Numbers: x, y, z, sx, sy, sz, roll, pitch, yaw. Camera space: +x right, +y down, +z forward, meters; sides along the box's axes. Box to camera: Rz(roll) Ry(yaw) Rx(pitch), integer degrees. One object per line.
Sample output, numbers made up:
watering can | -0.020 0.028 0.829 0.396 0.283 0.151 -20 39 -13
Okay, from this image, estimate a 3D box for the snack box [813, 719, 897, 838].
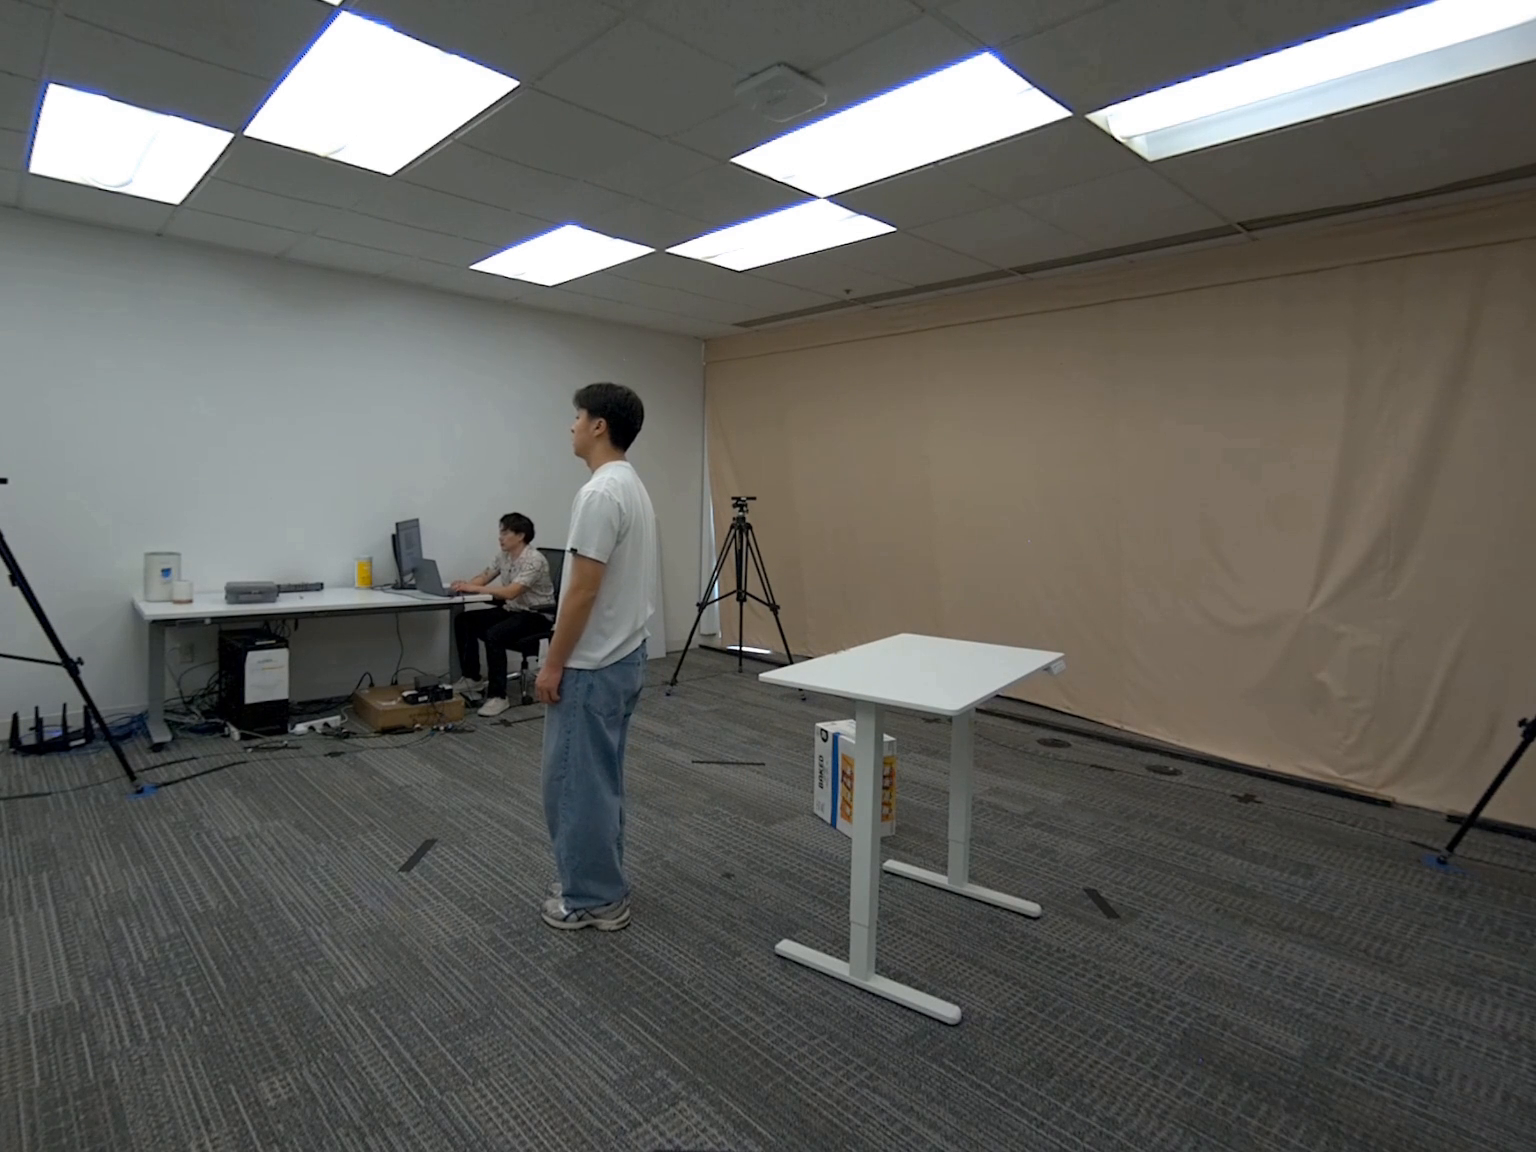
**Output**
snack box | 0.364 0.870 3.634 0.202 0.404 0.347 0 4 -26
